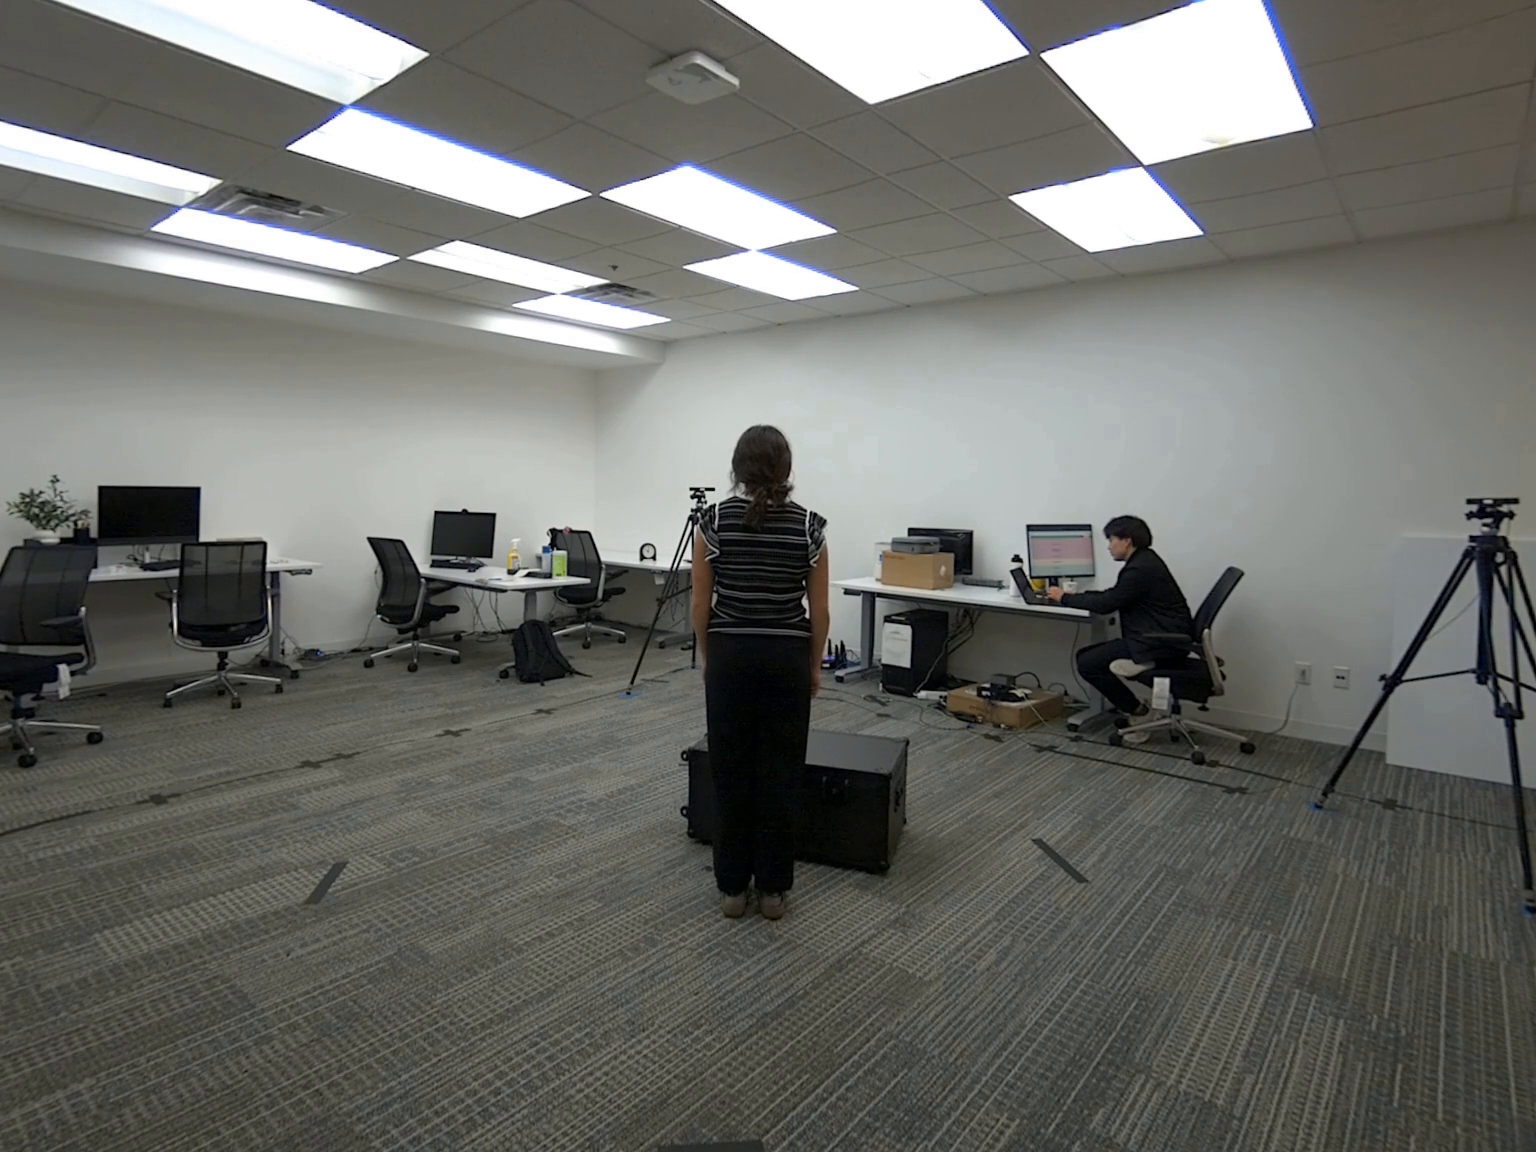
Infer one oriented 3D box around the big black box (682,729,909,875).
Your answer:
[{"bbox_3d":[0.089,0.849,3.424,0.879,0.394,0.513,3,6,19],"label":"big black box"}]
